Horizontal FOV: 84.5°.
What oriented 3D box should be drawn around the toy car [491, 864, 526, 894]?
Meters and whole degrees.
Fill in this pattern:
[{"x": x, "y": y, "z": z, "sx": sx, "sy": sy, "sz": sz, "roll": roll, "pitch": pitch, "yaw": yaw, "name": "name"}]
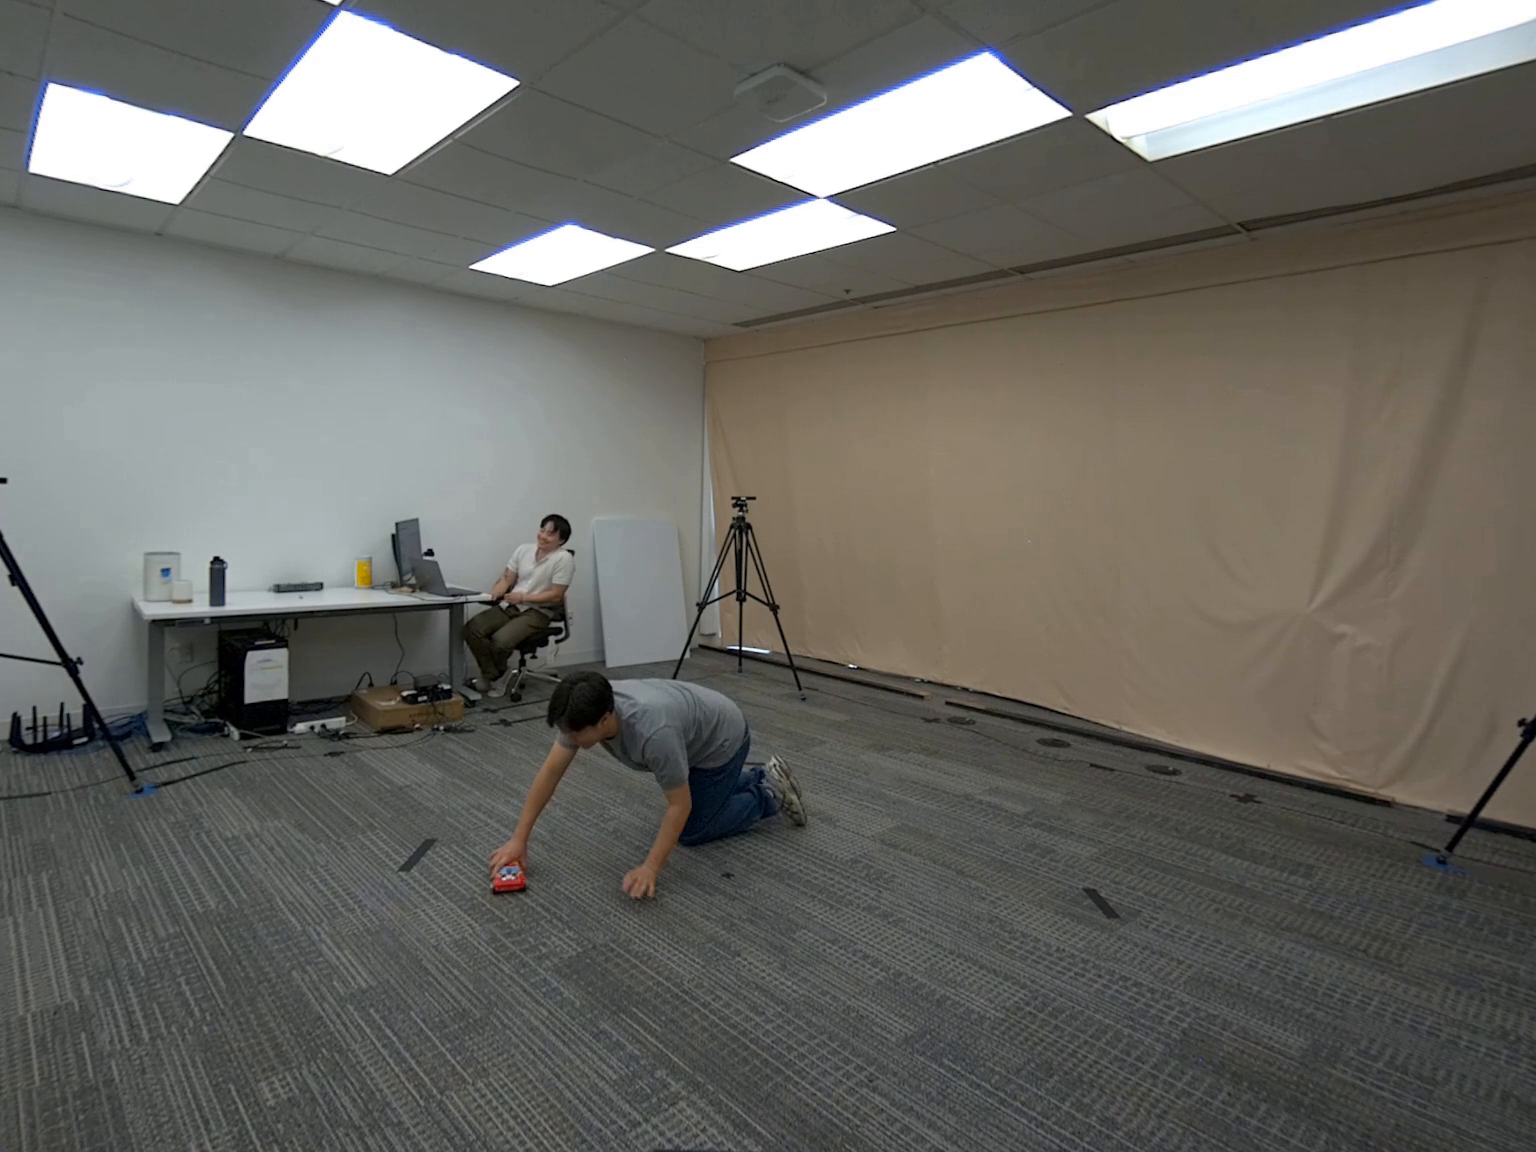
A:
[{"x": -0.946, "y": 1.069, "z": 3.029, "sx": 0.128, "sy": 0.082, "sz": 0.260, "roll": -1, "pitch": 16, "yaw": -18, "name": "toy car"}]
